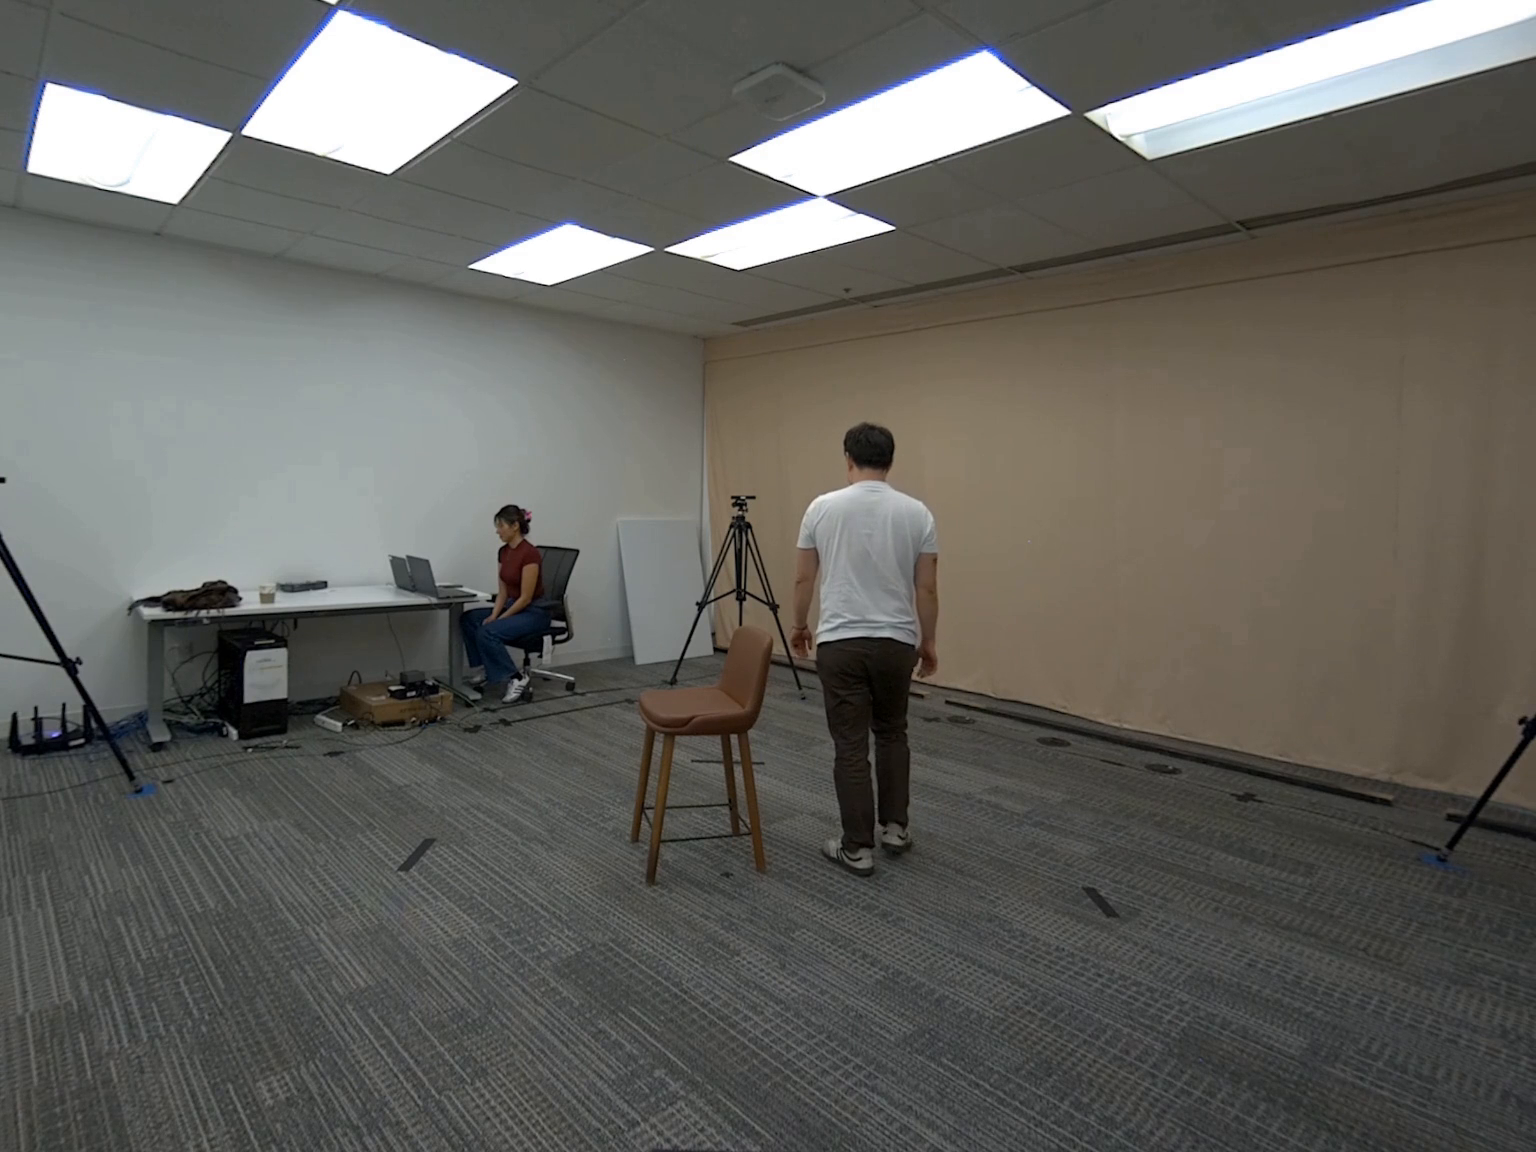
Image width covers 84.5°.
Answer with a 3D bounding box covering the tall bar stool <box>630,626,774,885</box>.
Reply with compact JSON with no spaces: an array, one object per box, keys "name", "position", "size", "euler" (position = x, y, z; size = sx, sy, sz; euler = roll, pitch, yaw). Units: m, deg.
[{"name":"tall bar stool","position":[-0.263,0.649,3.230],"size":[0.461,0.888,0.464],"euler":[3,3,-18]}]
